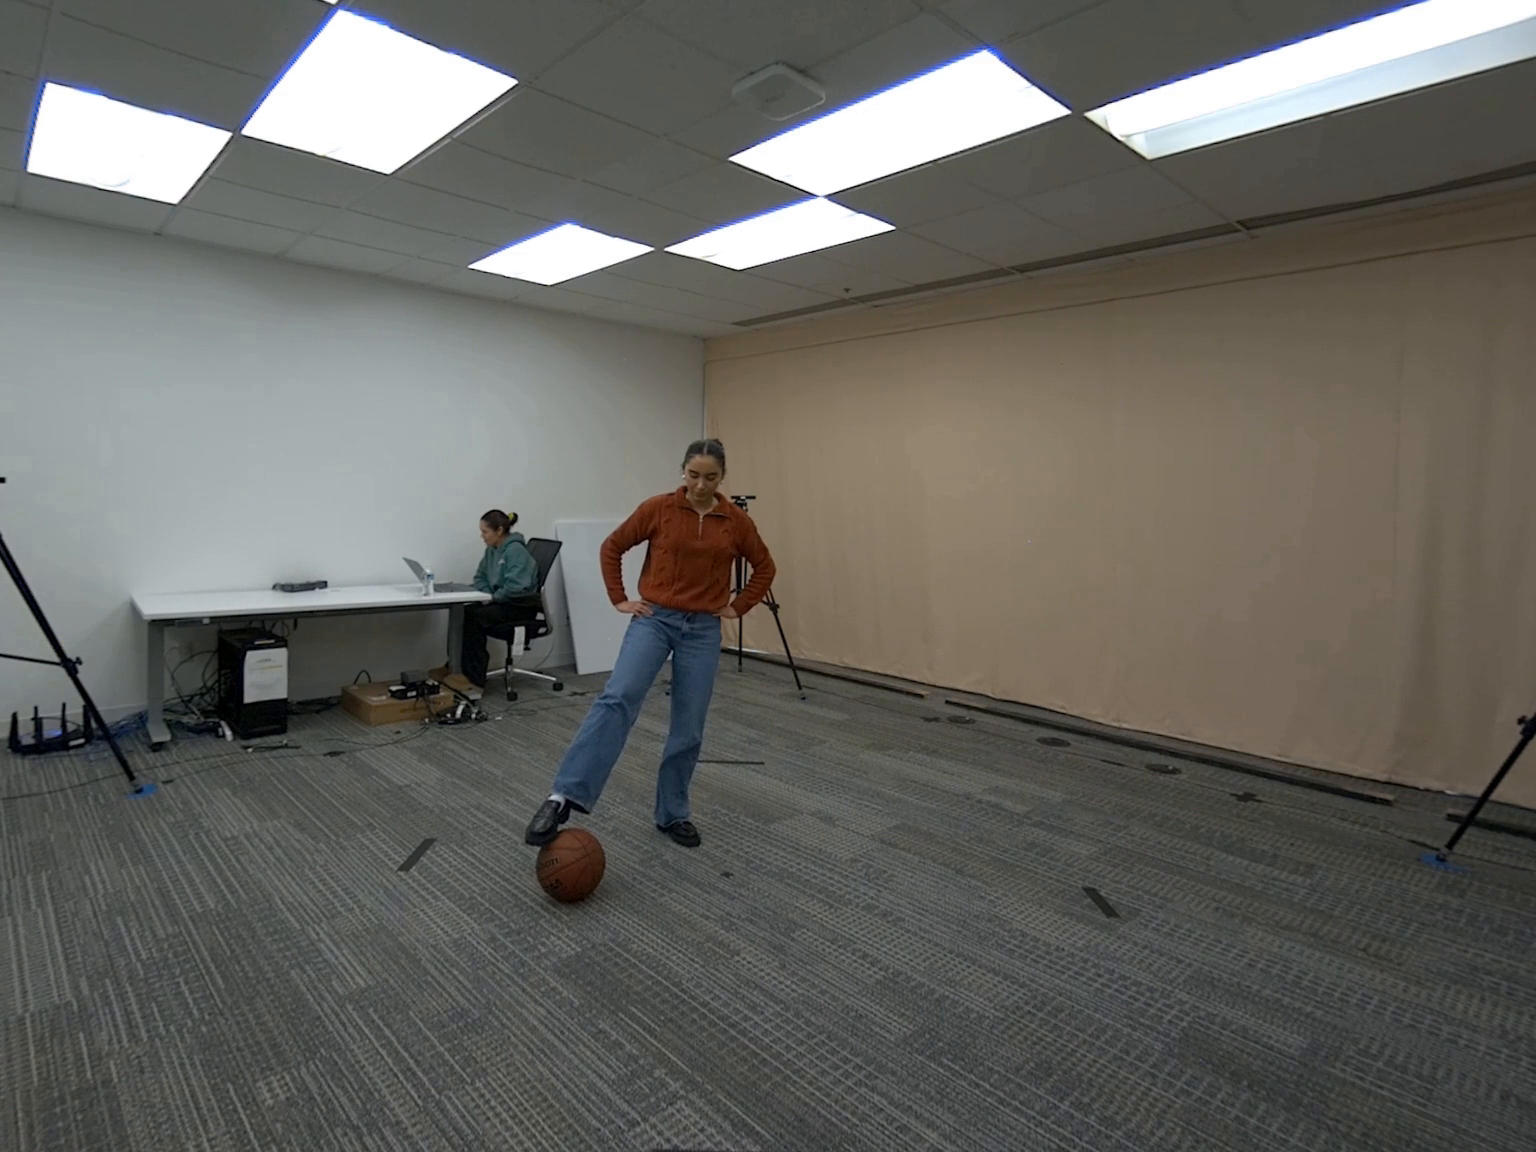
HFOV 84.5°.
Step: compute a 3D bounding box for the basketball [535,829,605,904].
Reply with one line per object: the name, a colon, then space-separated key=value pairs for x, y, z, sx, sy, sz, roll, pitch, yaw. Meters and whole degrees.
basketball: x=-0.682 y=0.994 z=2.899 sx=0.236 sy=0.235 sz=0.237 roll=1 pitch=4 yaw=-1
